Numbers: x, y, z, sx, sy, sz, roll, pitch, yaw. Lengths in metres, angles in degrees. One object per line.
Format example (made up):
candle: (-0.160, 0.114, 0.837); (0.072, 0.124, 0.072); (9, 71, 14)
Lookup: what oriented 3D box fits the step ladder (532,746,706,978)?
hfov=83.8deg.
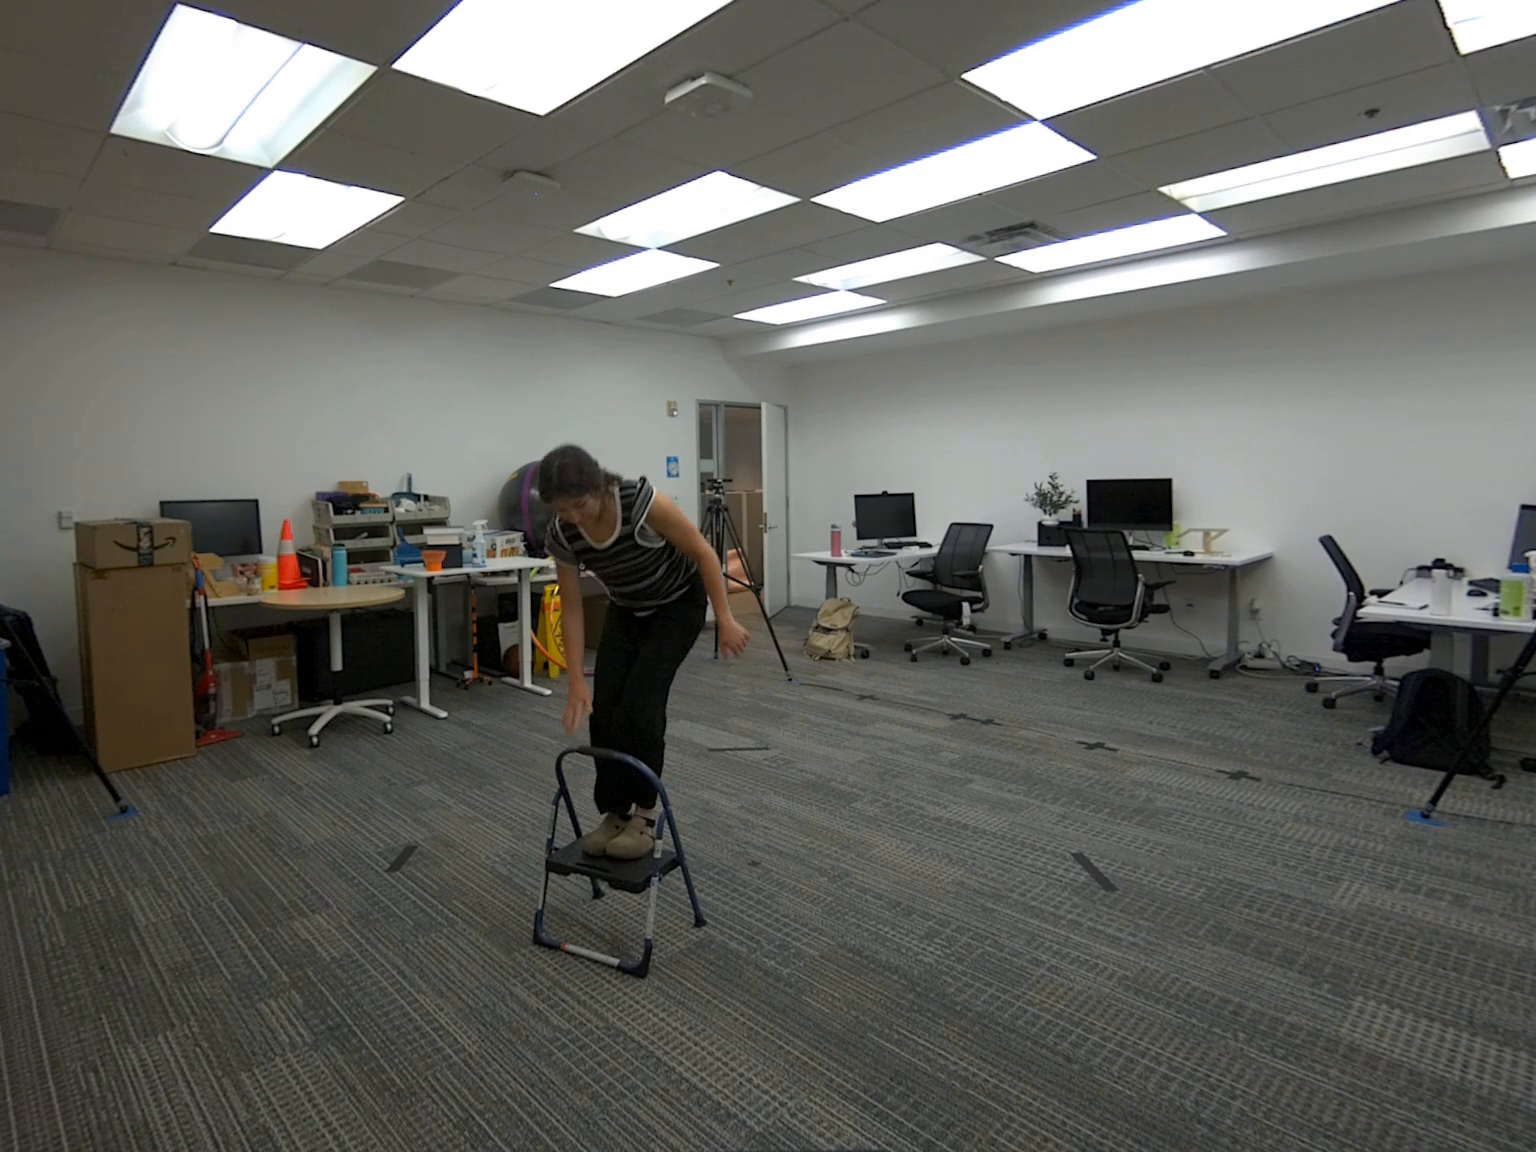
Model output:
step ladder: (-0.464, 0.808, 2.628); (0.441, 0.603, 0.342); (1, 5, 27)
